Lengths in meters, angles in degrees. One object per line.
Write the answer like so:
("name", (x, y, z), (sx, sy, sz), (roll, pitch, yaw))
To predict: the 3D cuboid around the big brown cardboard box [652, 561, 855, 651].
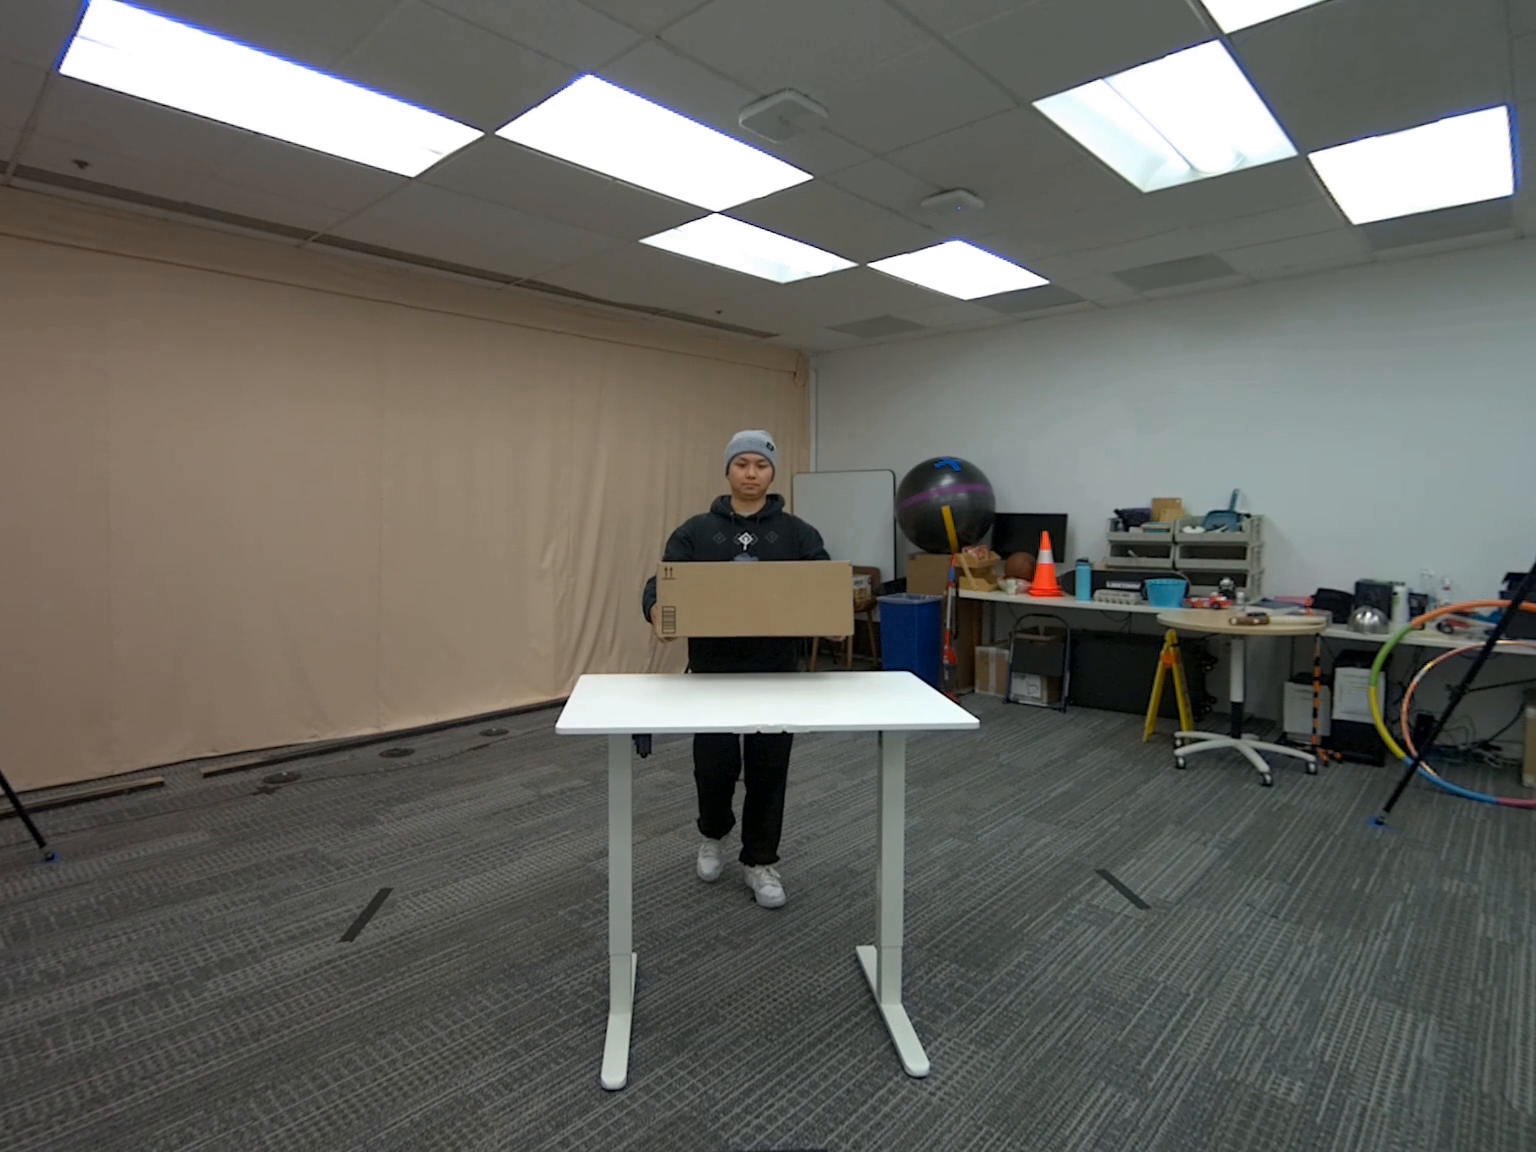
("big brown cardboard box", (-0.051, 0.078, 2.626), (0.588, 0.234, 0.417), (1, -3, -1))
